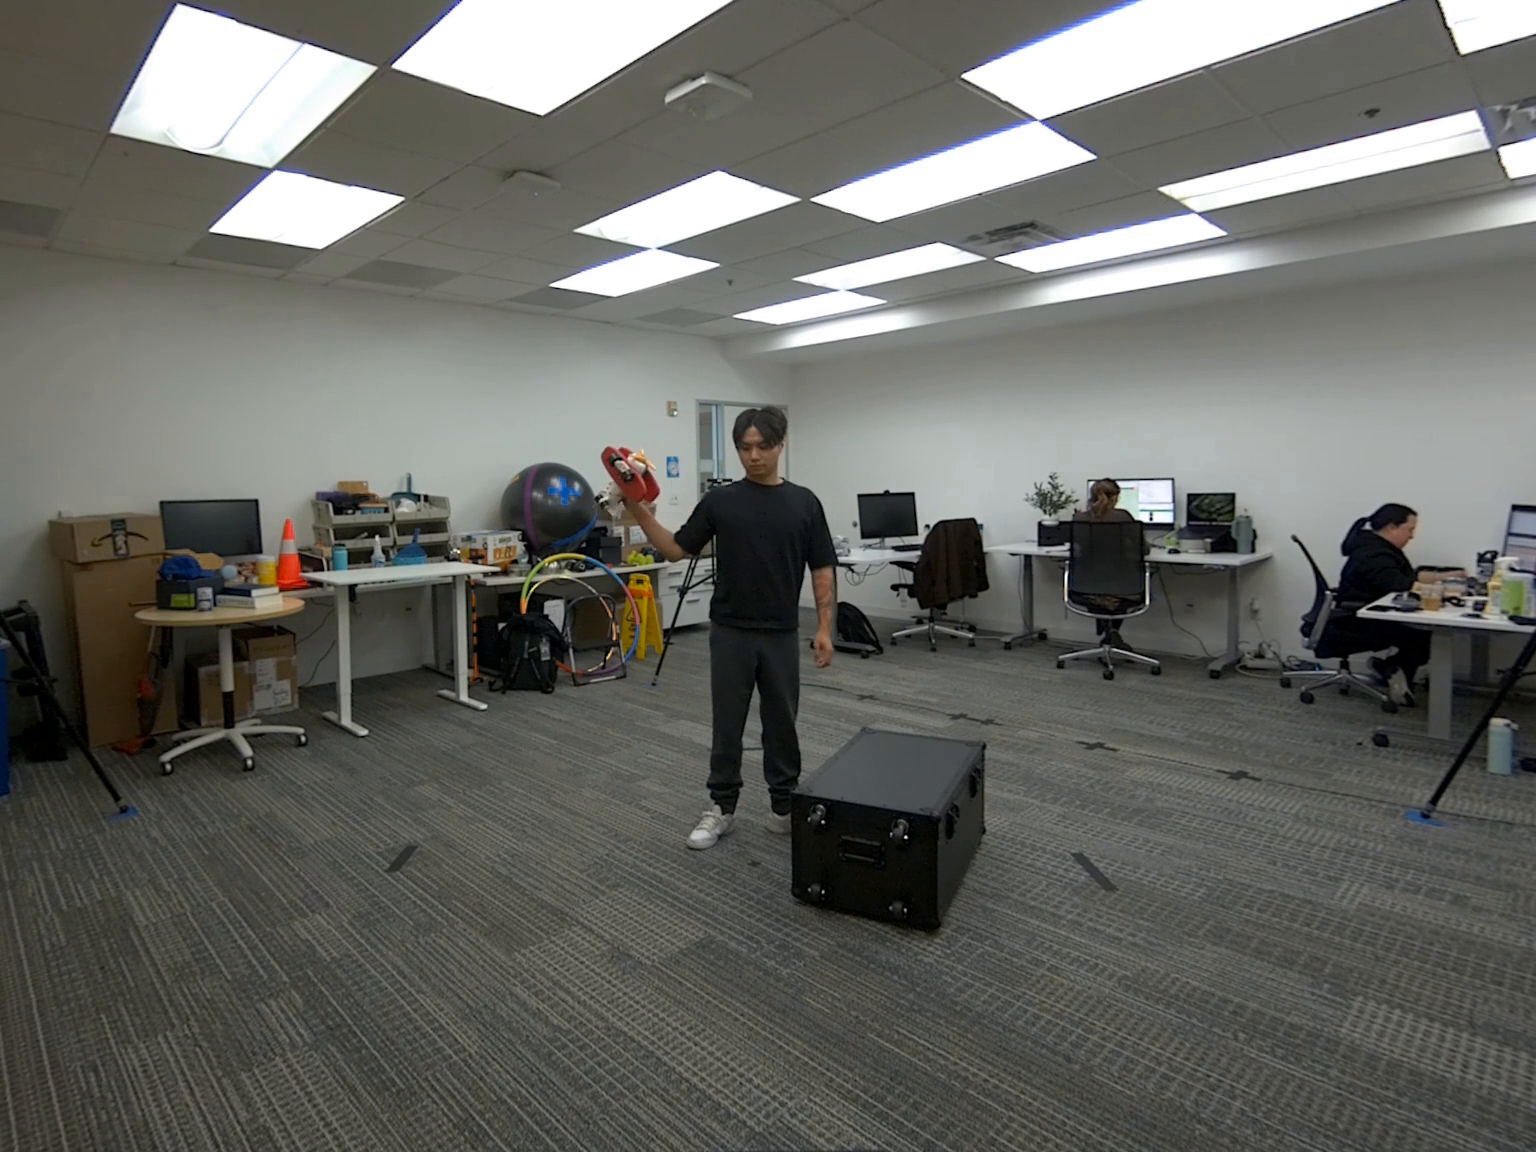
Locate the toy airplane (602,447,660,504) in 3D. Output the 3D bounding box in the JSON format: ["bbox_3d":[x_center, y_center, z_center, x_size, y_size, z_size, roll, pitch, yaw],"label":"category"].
[{"bbox_3d":[-0.554,-0.369,3.205,0.264,0.251,0.153,-18,-1,44],"label":"toy airplane"}]
